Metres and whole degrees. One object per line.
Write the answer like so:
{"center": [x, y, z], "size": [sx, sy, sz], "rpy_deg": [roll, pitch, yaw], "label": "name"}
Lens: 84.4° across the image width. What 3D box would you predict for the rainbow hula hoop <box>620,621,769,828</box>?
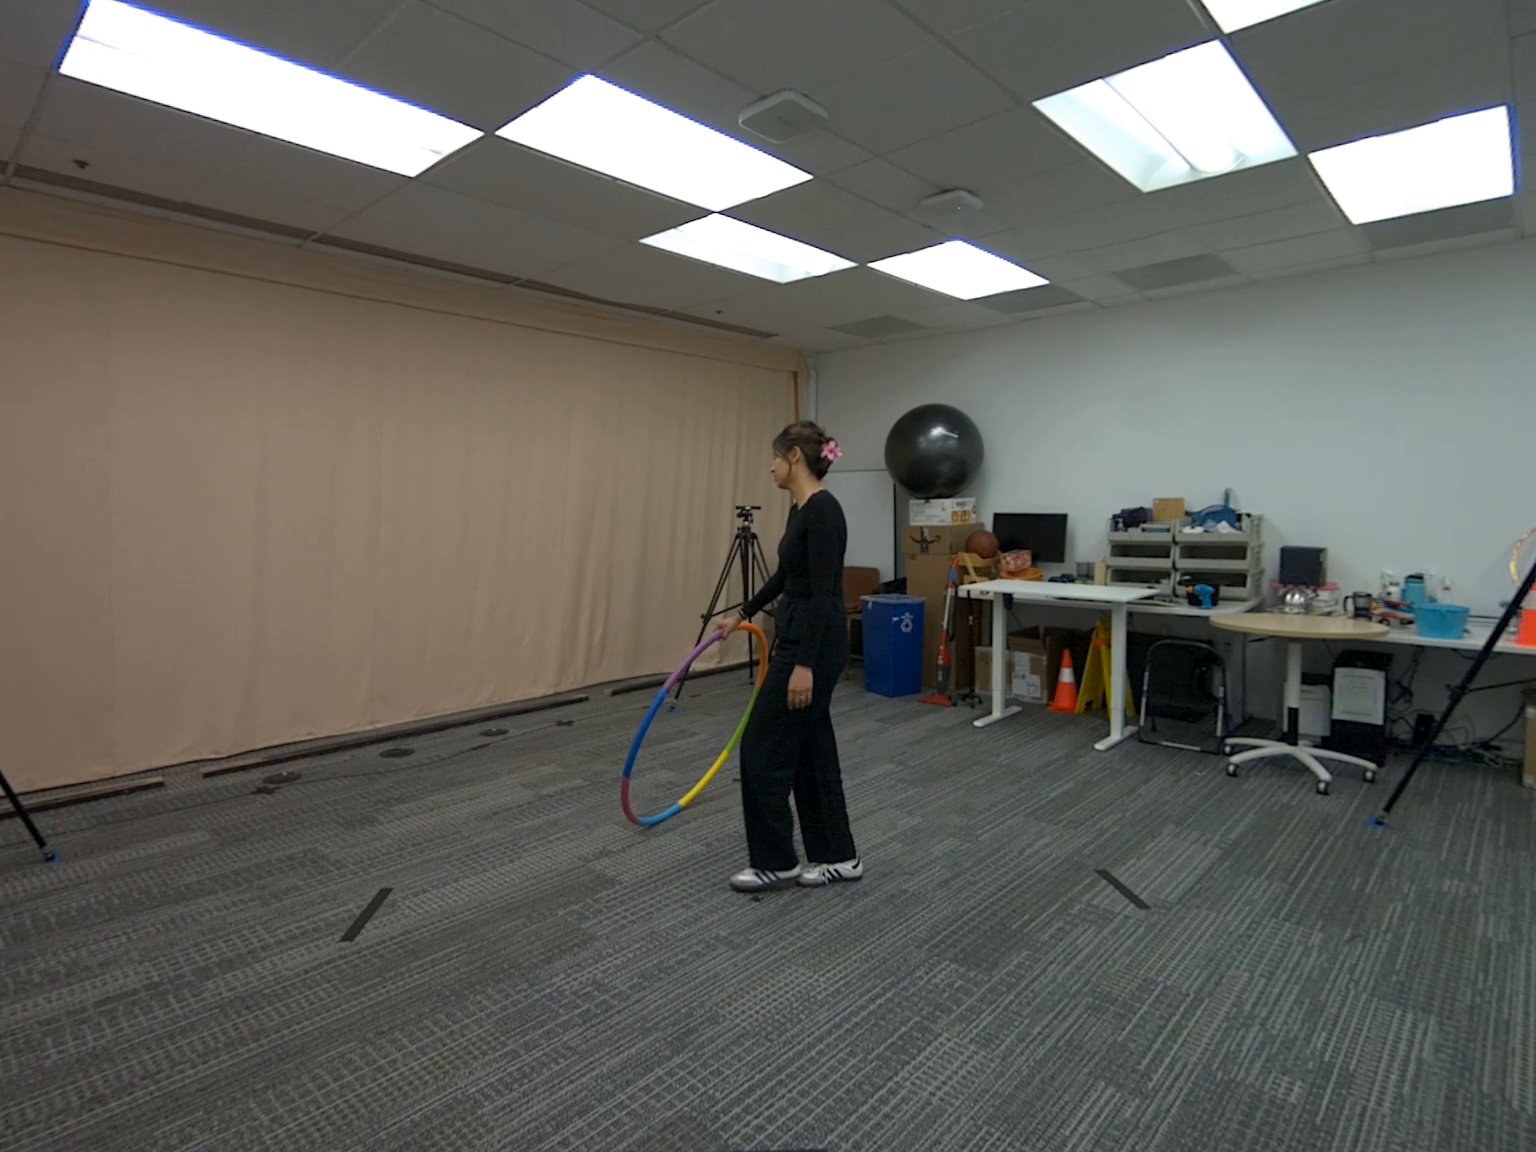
{"center": [-0.305, 0.642, 3.651], "size": [0.036, 0.975, 0.953], "rpy_deg": [28, 17, 25], "label": "rainbow hula hoop"}
